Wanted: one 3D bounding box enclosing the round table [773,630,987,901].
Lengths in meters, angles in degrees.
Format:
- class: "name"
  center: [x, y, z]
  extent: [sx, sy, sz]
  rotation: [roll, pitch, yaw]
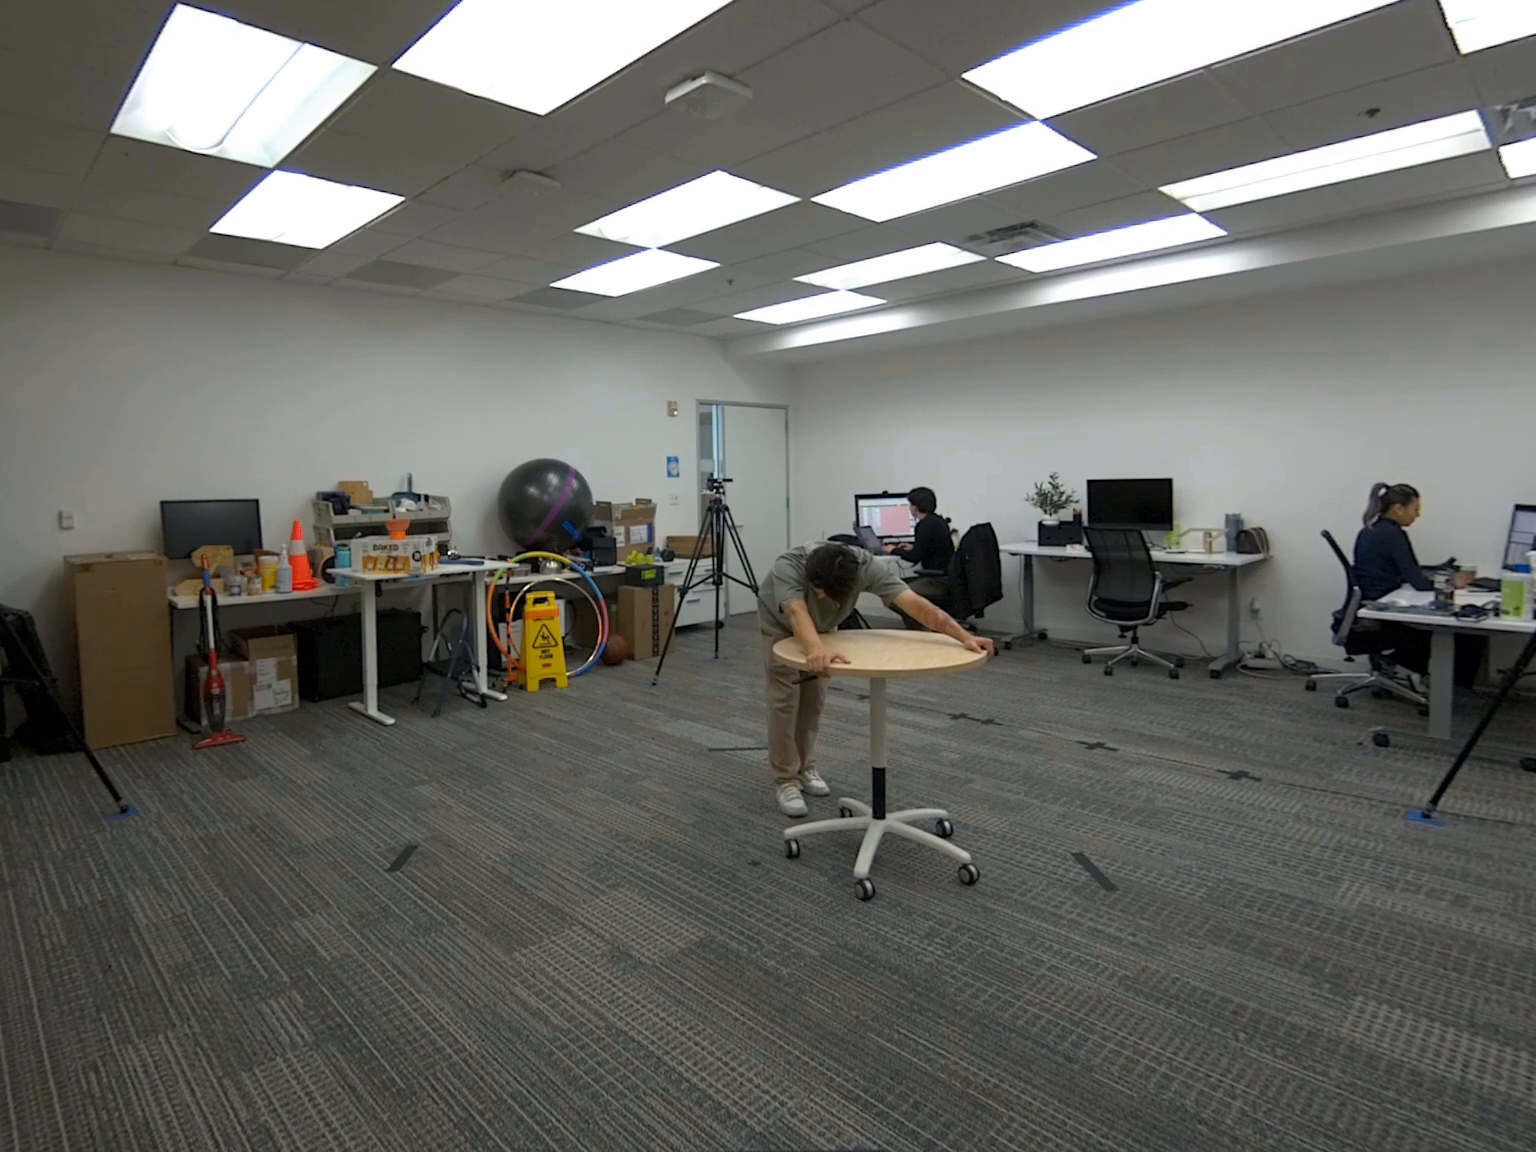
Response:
- class: "round table"
  center: [0.428, 0.650, 3.135]
  extent: [0.784, 0.783, 0.789]
  rotation: [-2, 5, -2]
